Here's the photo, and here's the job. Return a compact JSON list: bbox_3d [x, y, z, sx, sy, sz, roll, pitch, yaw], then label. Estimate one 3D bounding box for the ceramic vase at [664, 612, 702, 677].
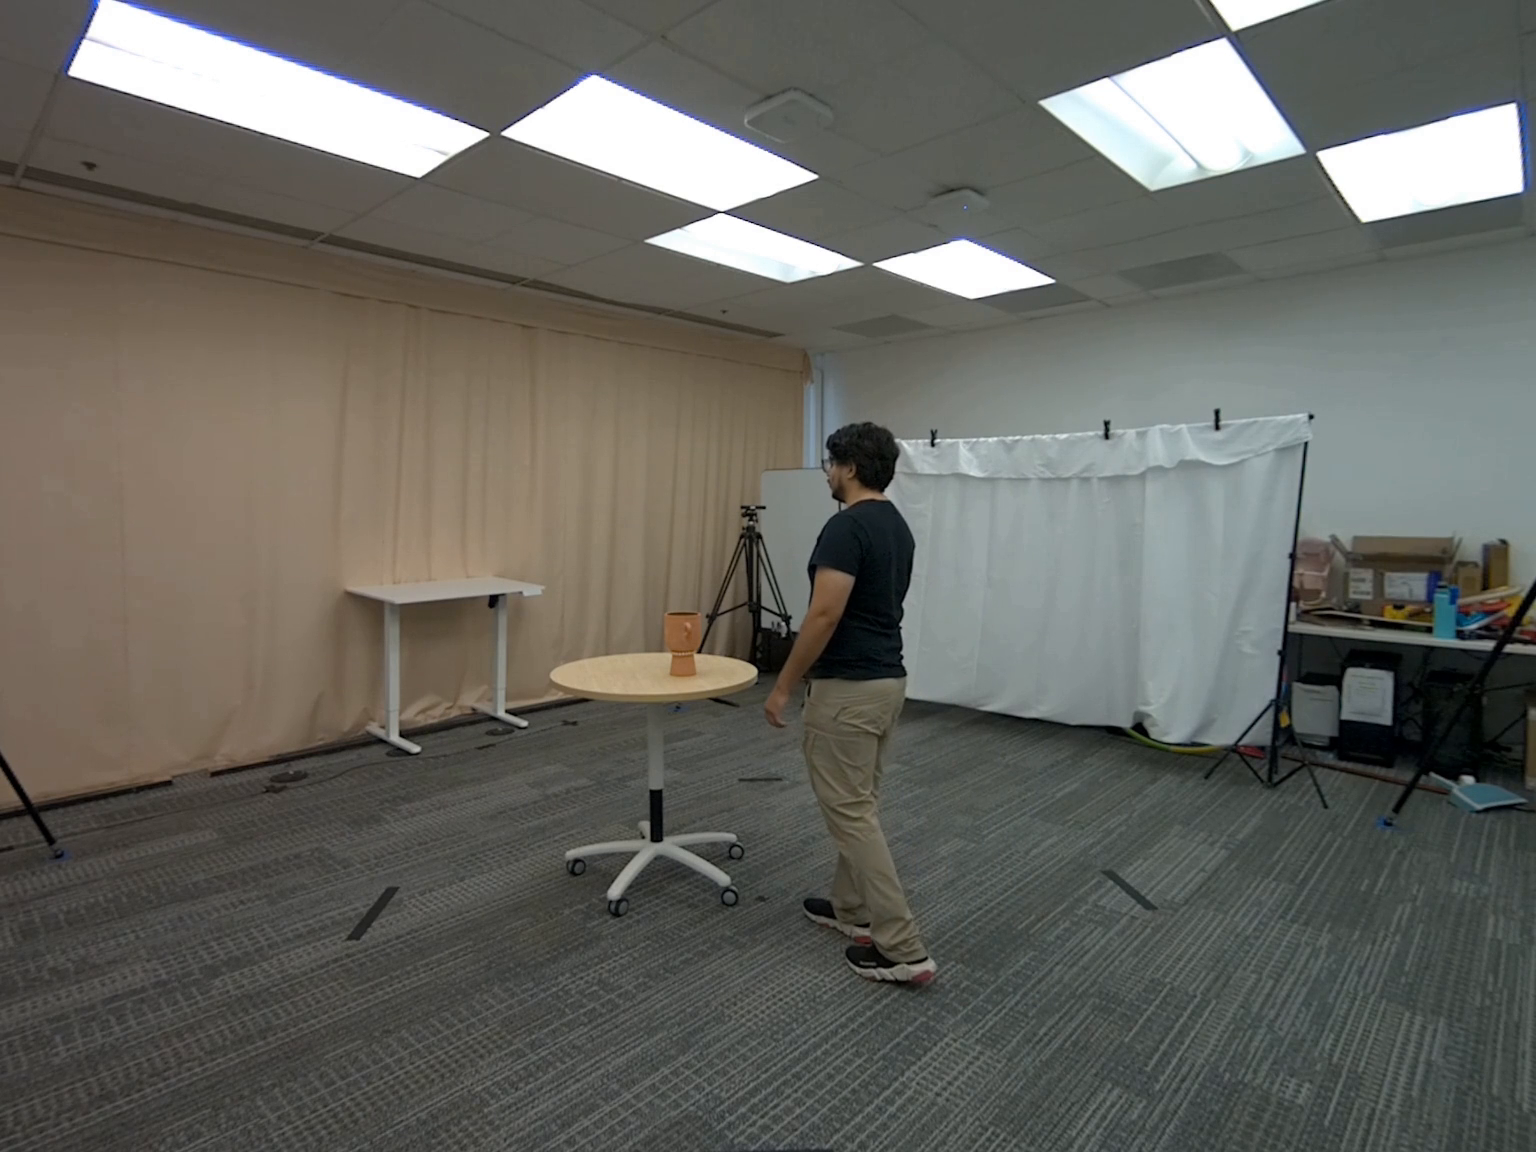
[{"bbox_3d":[-0.308,0.251,3.064,0.137,0.219,0.156,2,4,19],"label":"ceramic vase"}]
